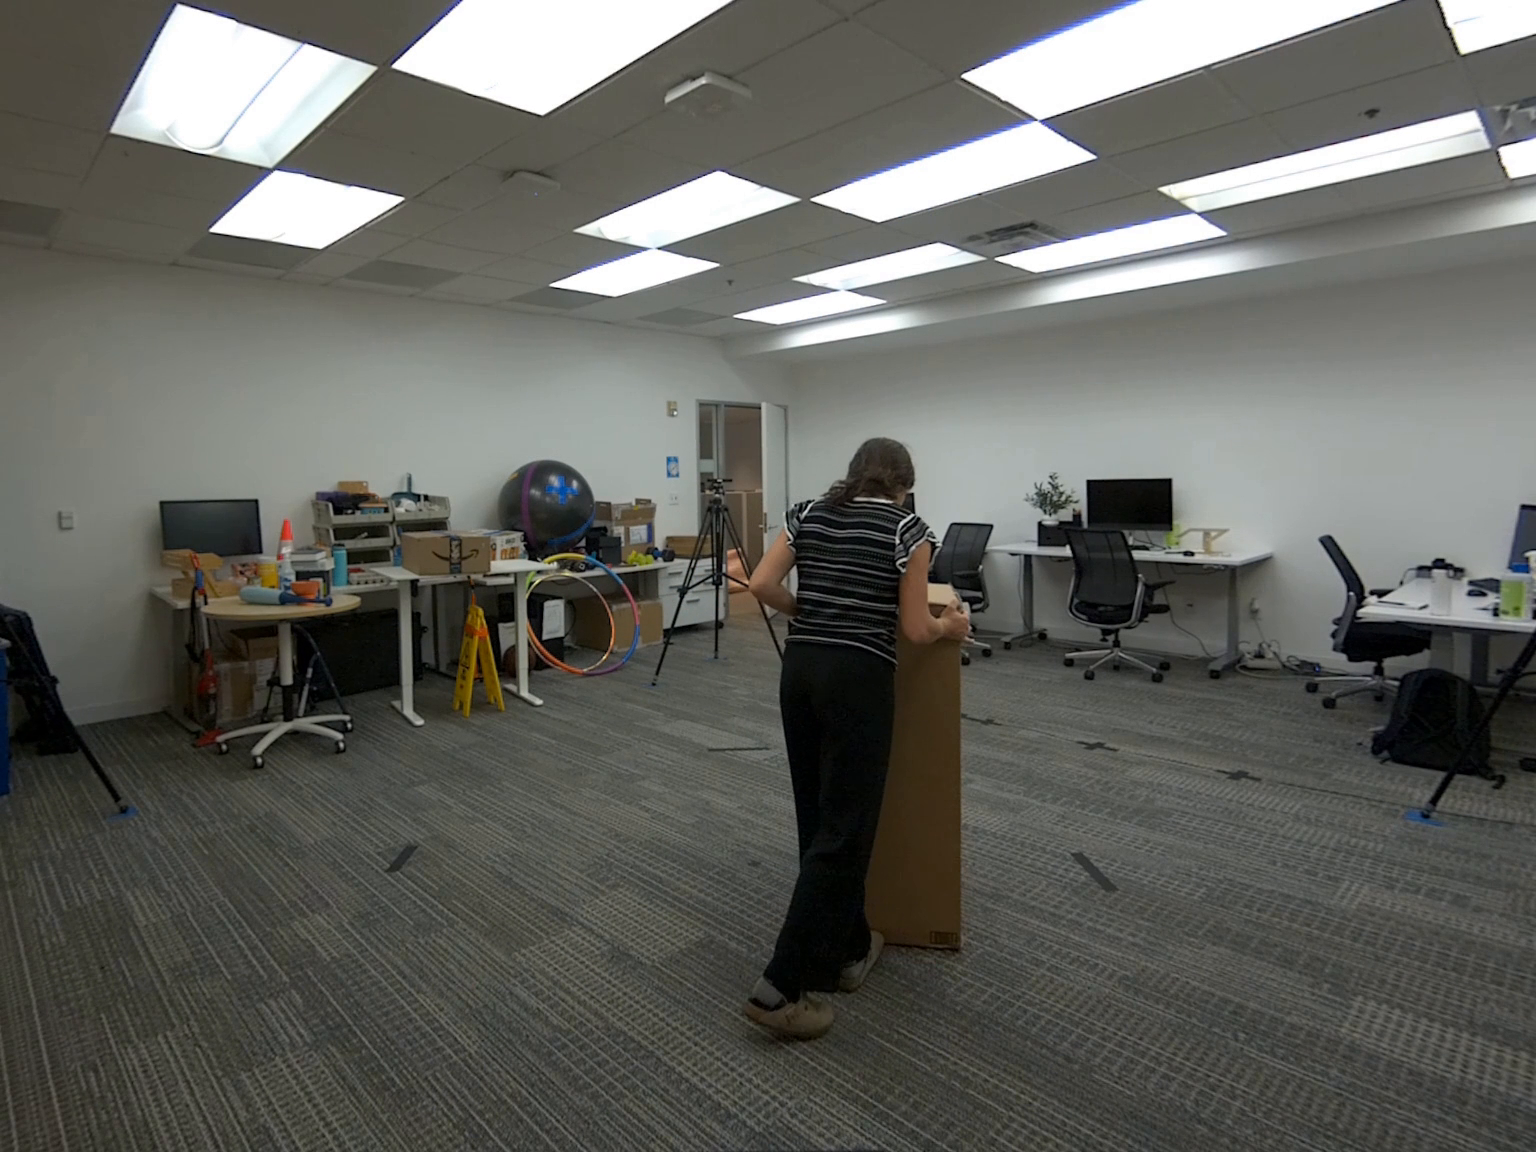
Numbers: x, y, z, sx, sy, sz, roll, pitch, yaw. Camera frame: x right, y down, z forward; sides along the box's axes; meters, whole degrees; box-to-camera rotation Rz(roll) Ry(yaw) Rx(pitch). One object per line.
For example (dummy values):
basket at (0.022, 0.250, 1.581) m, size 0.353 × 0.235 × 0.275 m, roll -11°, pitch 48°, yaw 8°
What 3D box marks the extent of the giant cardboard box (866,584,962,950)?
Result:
giant cardboard box at (0.407, 0.565, 2.803) m, size 0.431 × 1.023 × 0.572 m, roll 0°, pitch 3°, yaw 11°
